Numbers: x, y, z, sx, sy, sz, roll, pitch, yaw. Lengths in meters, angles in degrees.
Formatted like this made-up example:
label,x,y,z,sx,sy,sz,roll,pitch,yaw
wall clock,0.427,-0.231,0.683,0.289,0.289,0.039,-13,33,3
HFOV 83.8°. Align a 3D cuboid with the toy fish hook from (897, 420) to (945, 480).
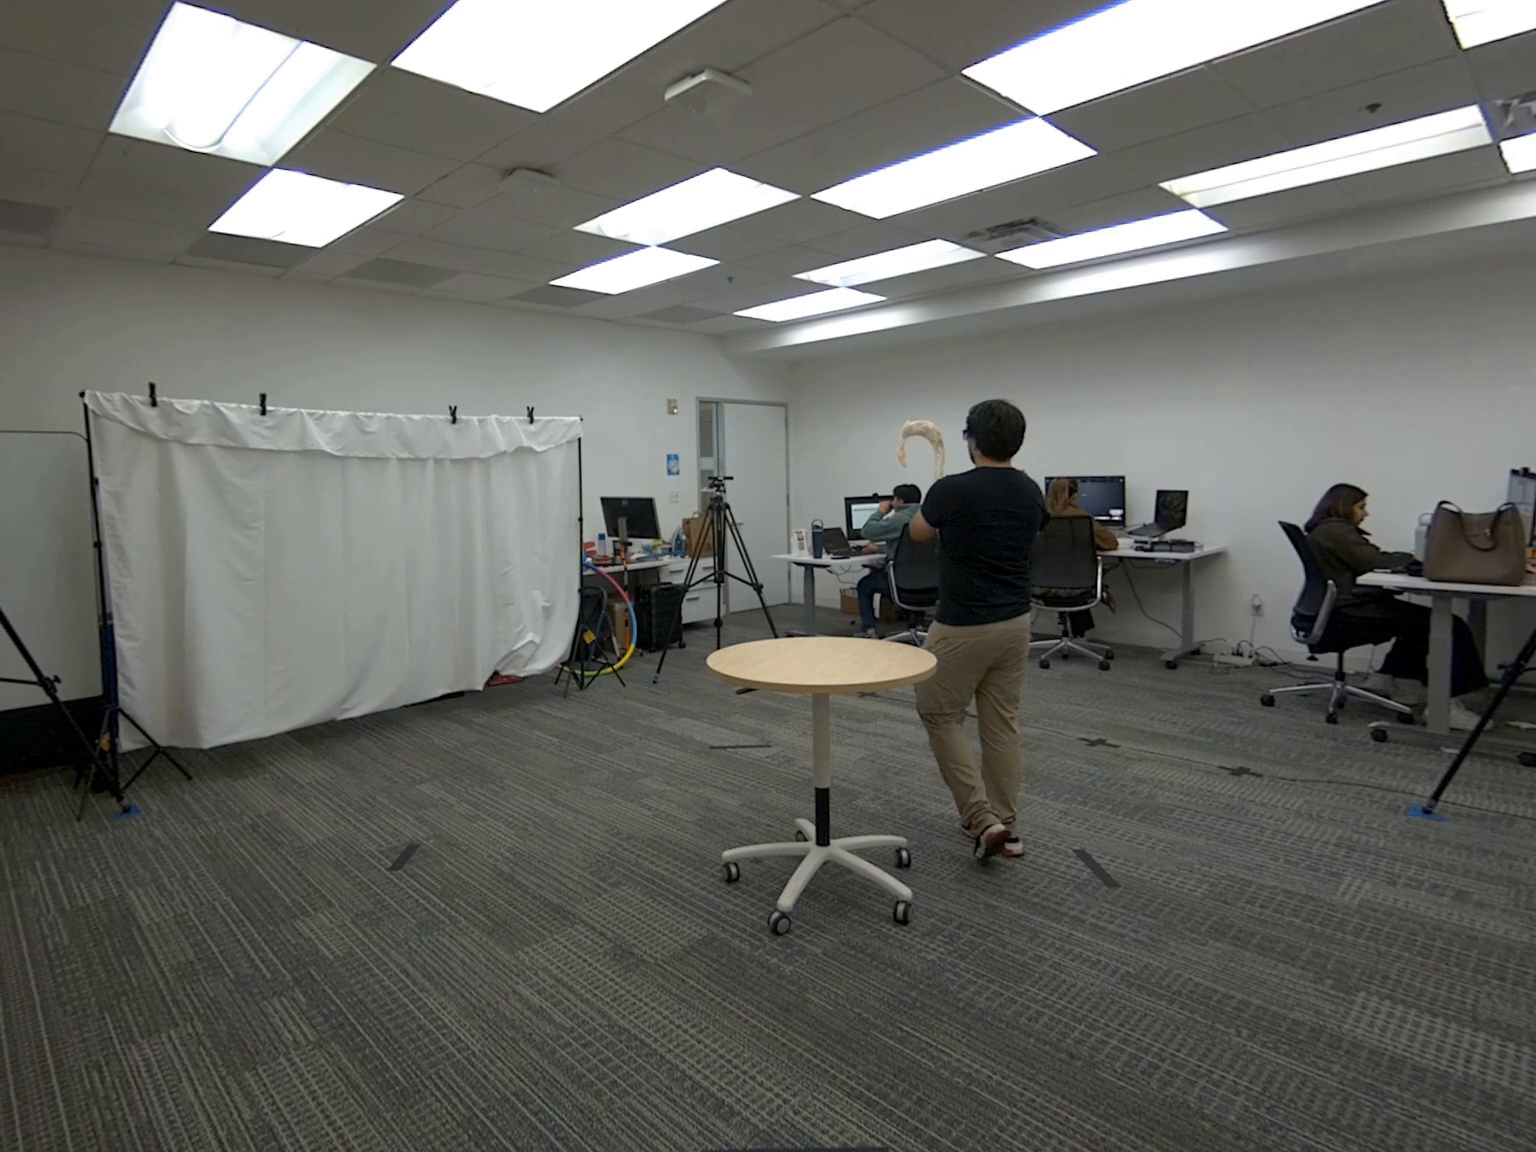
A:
label,x,y,z,sx,sy,sz,roll,pitch,yaw
toy fish hook,0.660,-0.403,3.556,0.222,0.510,0.048,-5,-7,-14
